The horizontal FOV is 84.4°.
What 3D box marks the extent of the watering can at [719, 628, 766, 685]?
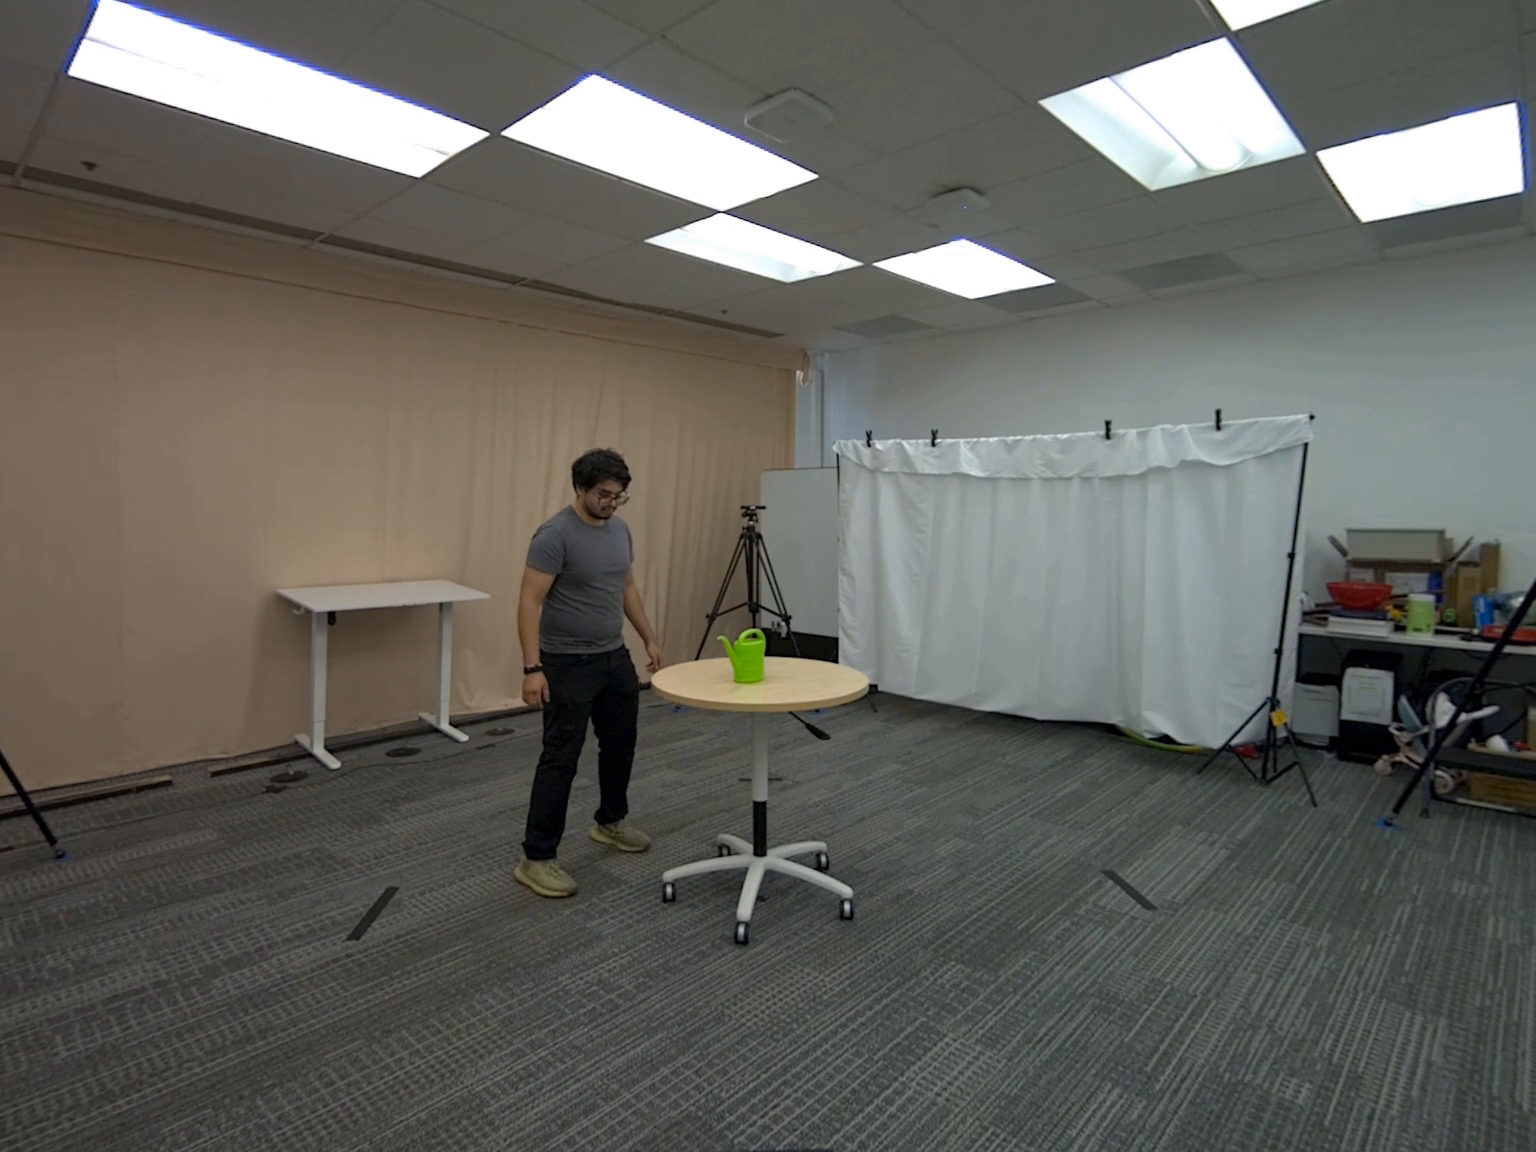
[{"bbox_3d":[-0.089,0.280,2.909,0.270,0.176,0.101,-3,5,-43],"label":"watering can"}]
